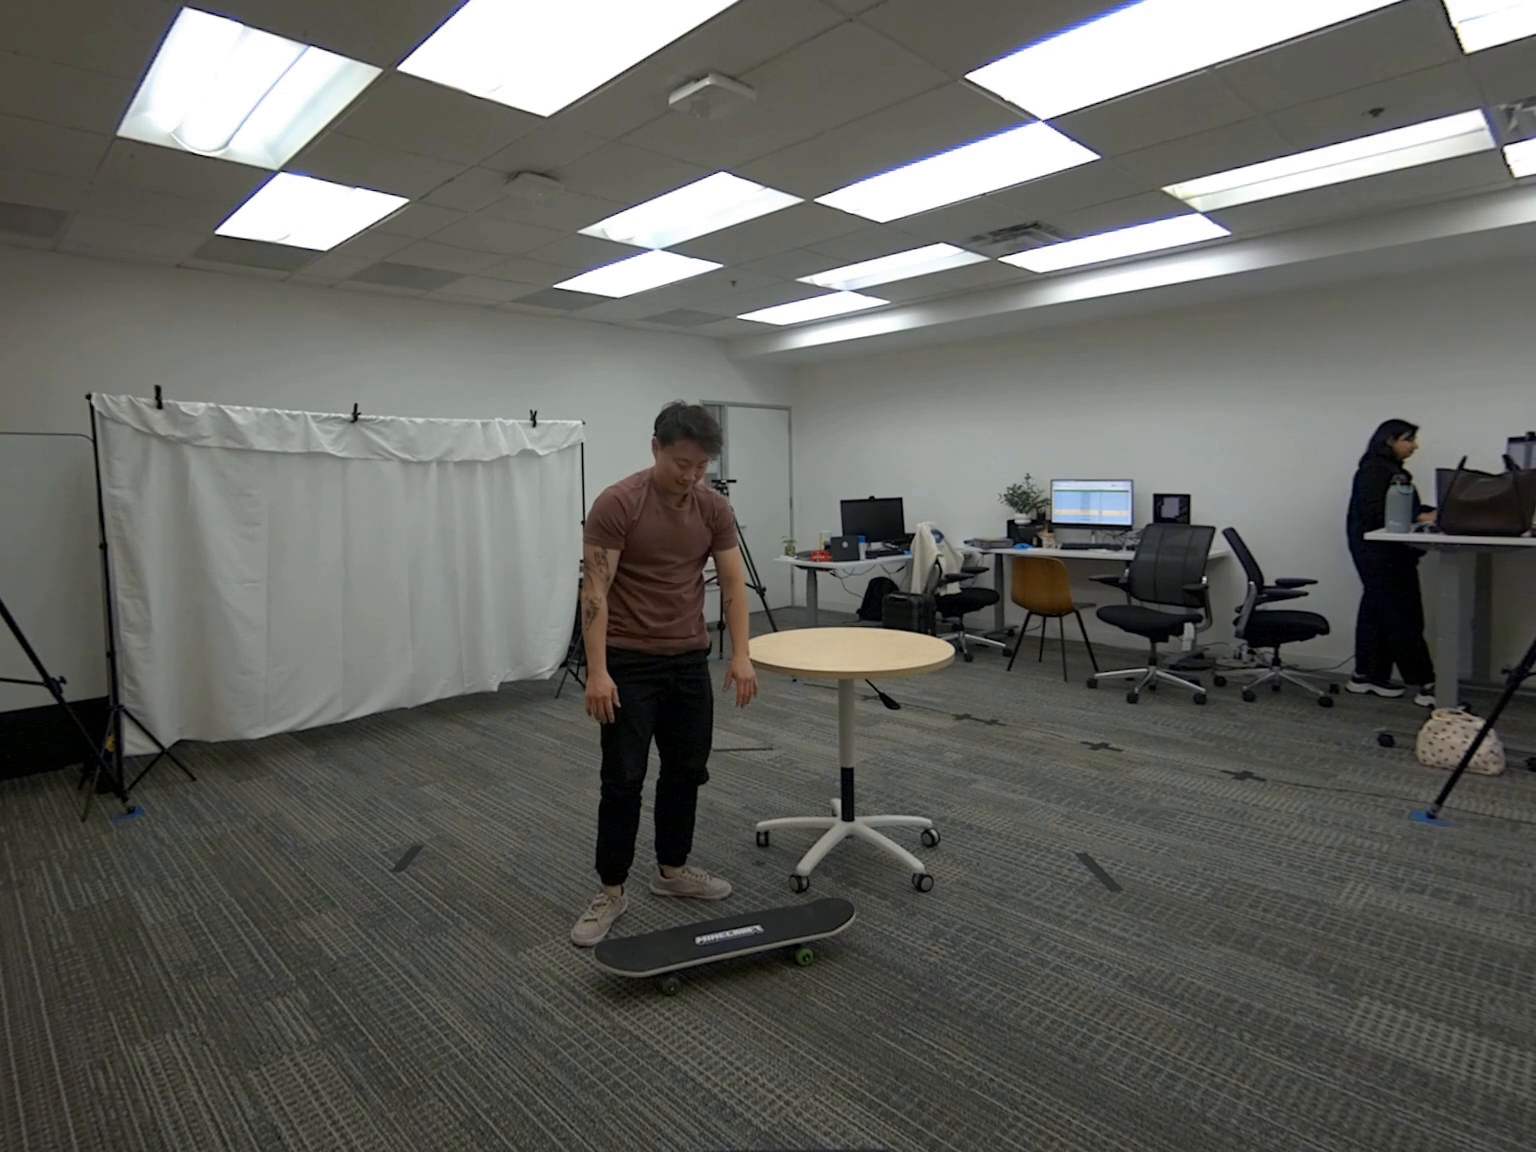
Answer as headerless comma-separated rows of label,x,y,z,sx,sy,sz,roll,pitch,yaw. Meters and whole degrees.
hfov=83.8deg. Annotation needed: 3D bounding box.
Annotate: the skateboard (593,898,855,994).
skateboard,-0.108,1.063,2.473,0.773,0.110,0.197,-3,6,-17
